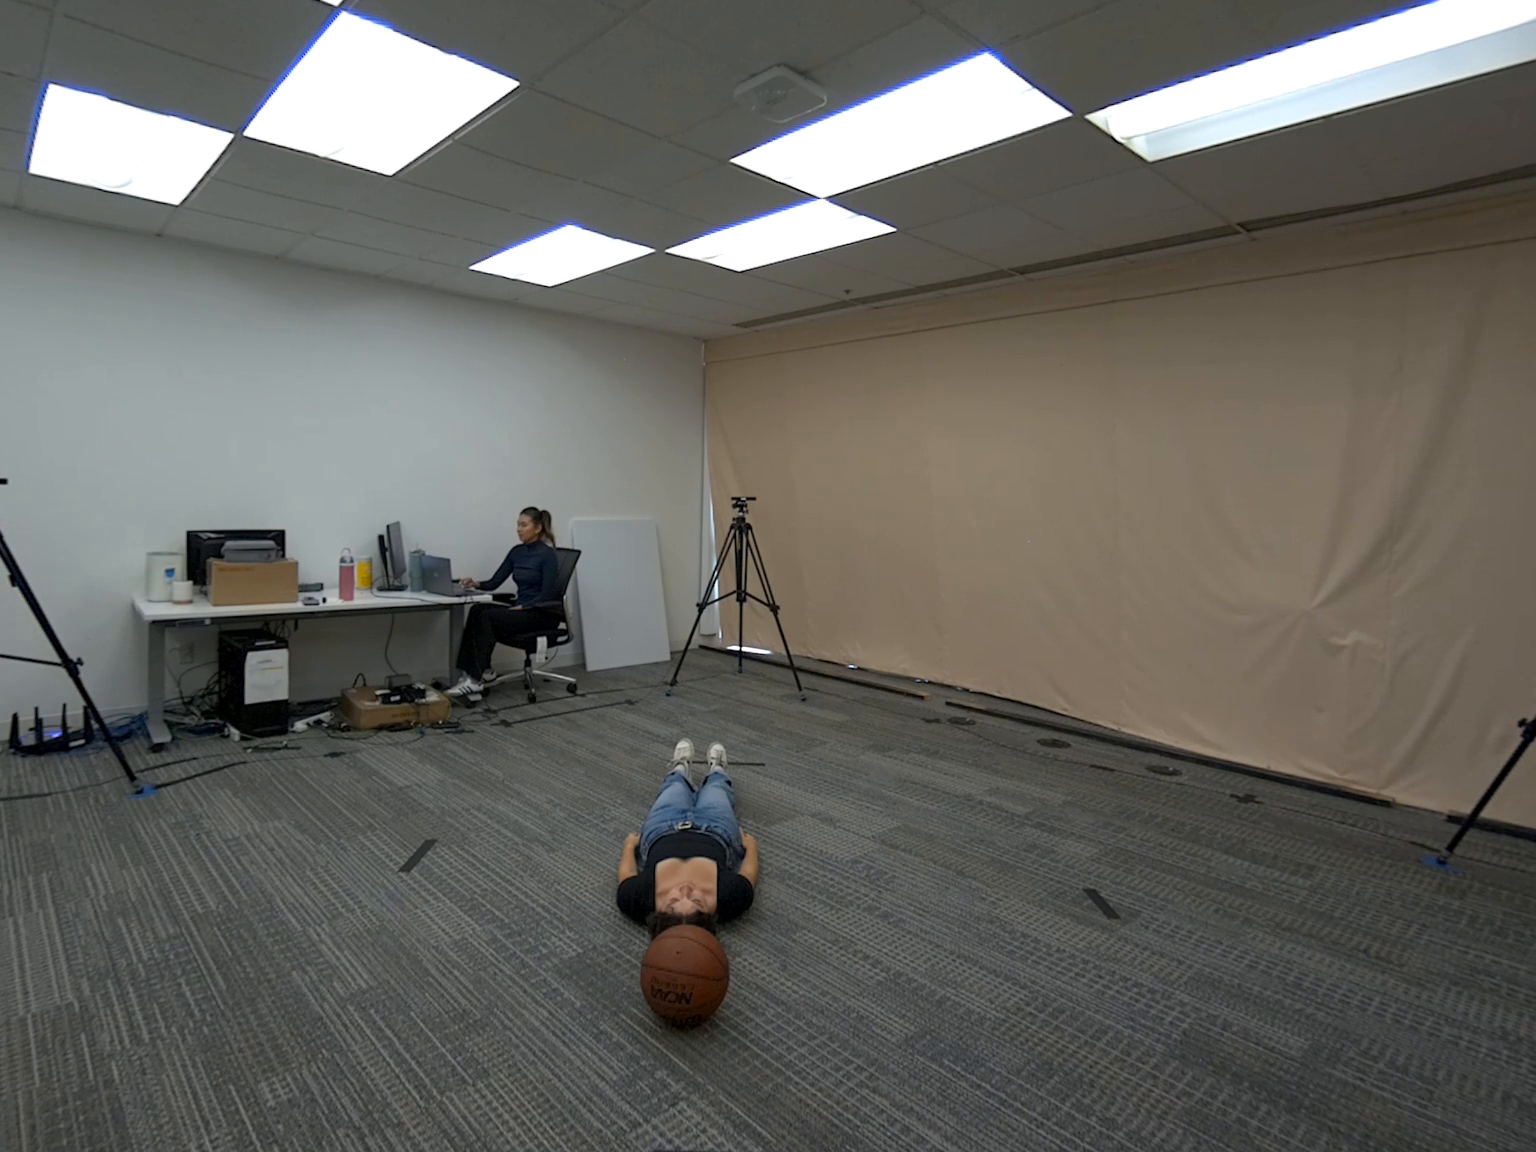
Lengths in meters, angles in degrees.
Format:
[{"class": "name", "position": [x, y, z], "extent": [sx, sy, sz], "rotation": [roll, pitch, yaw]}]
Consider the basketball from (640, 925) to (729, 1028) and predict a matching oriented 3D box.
[{"class": "basketball", "position": [-0.225, 1.068, 2.237], "extent": [0.236, 0.235, 0.237], "rotation": [1, 4, -1]}]
